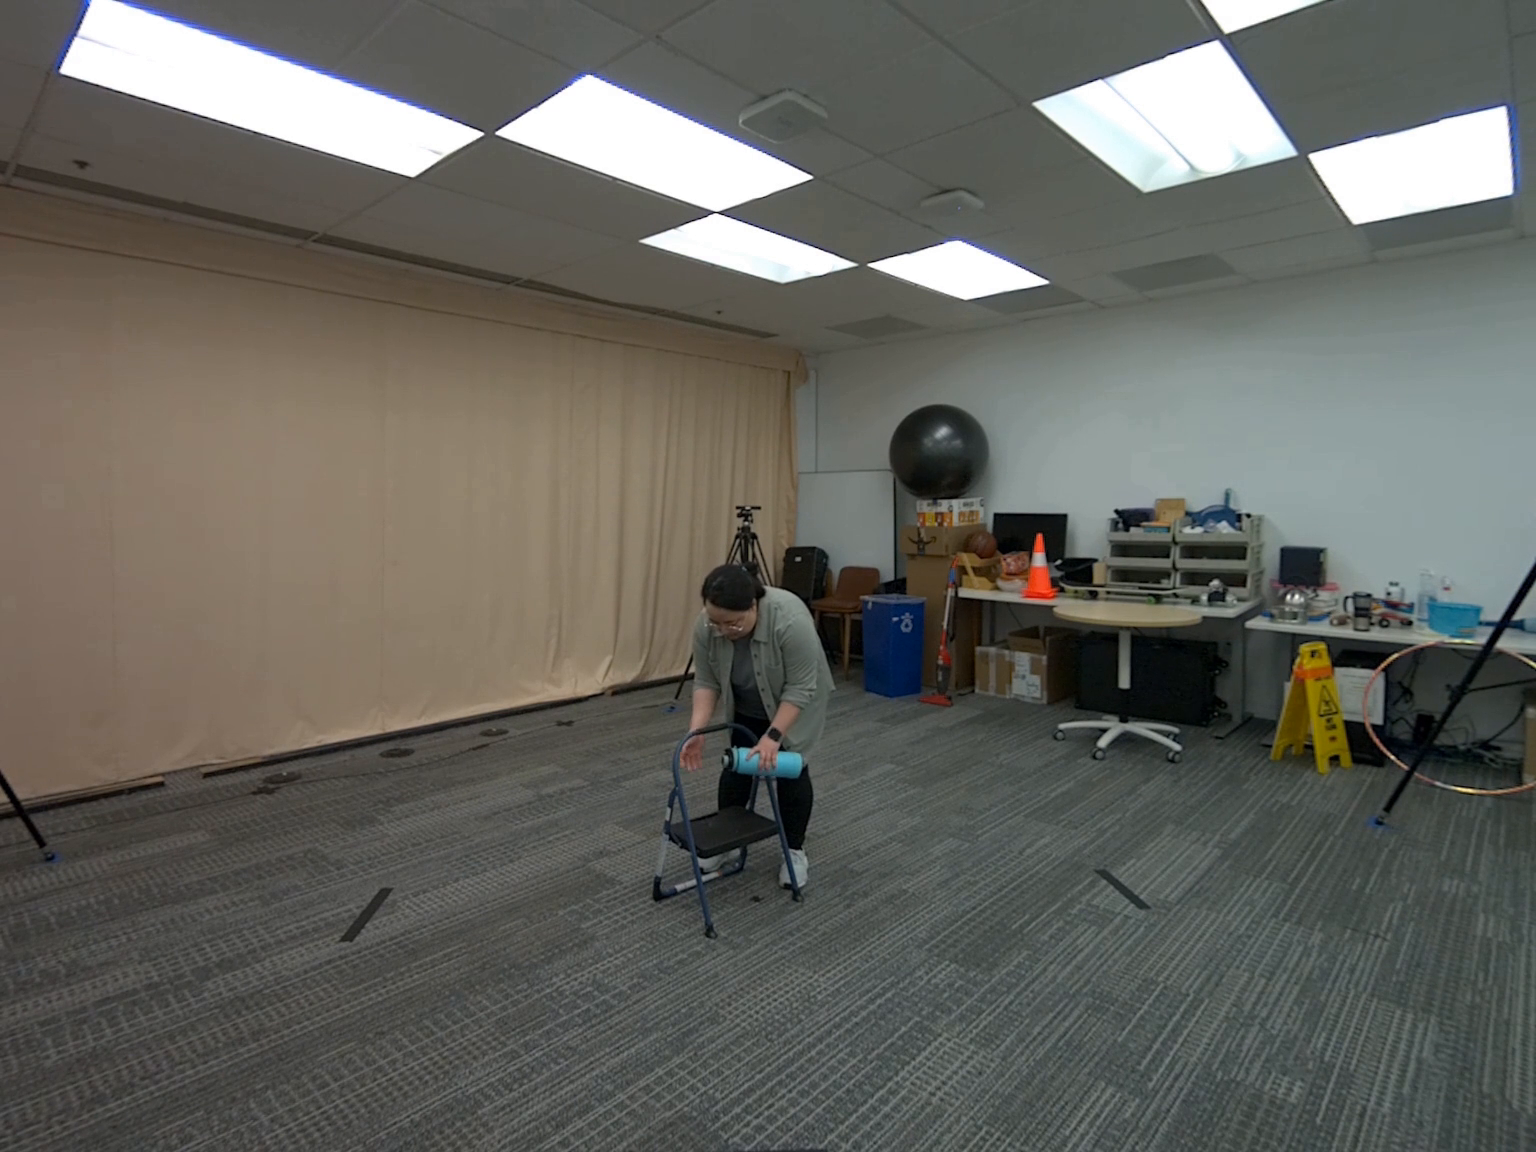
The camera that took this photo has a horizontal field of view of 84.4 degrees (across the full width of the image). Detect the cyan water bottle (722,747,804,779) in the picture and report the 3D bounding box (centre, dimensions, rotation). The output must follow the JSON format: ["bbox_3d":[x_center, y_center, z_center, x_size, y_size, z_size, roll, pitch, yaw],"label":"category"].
[{"bbox_3d":[-0.026,0.652,2.972,0.279,0.092,0.094,3,3,-13],"label":"cyan water bottle"}]
